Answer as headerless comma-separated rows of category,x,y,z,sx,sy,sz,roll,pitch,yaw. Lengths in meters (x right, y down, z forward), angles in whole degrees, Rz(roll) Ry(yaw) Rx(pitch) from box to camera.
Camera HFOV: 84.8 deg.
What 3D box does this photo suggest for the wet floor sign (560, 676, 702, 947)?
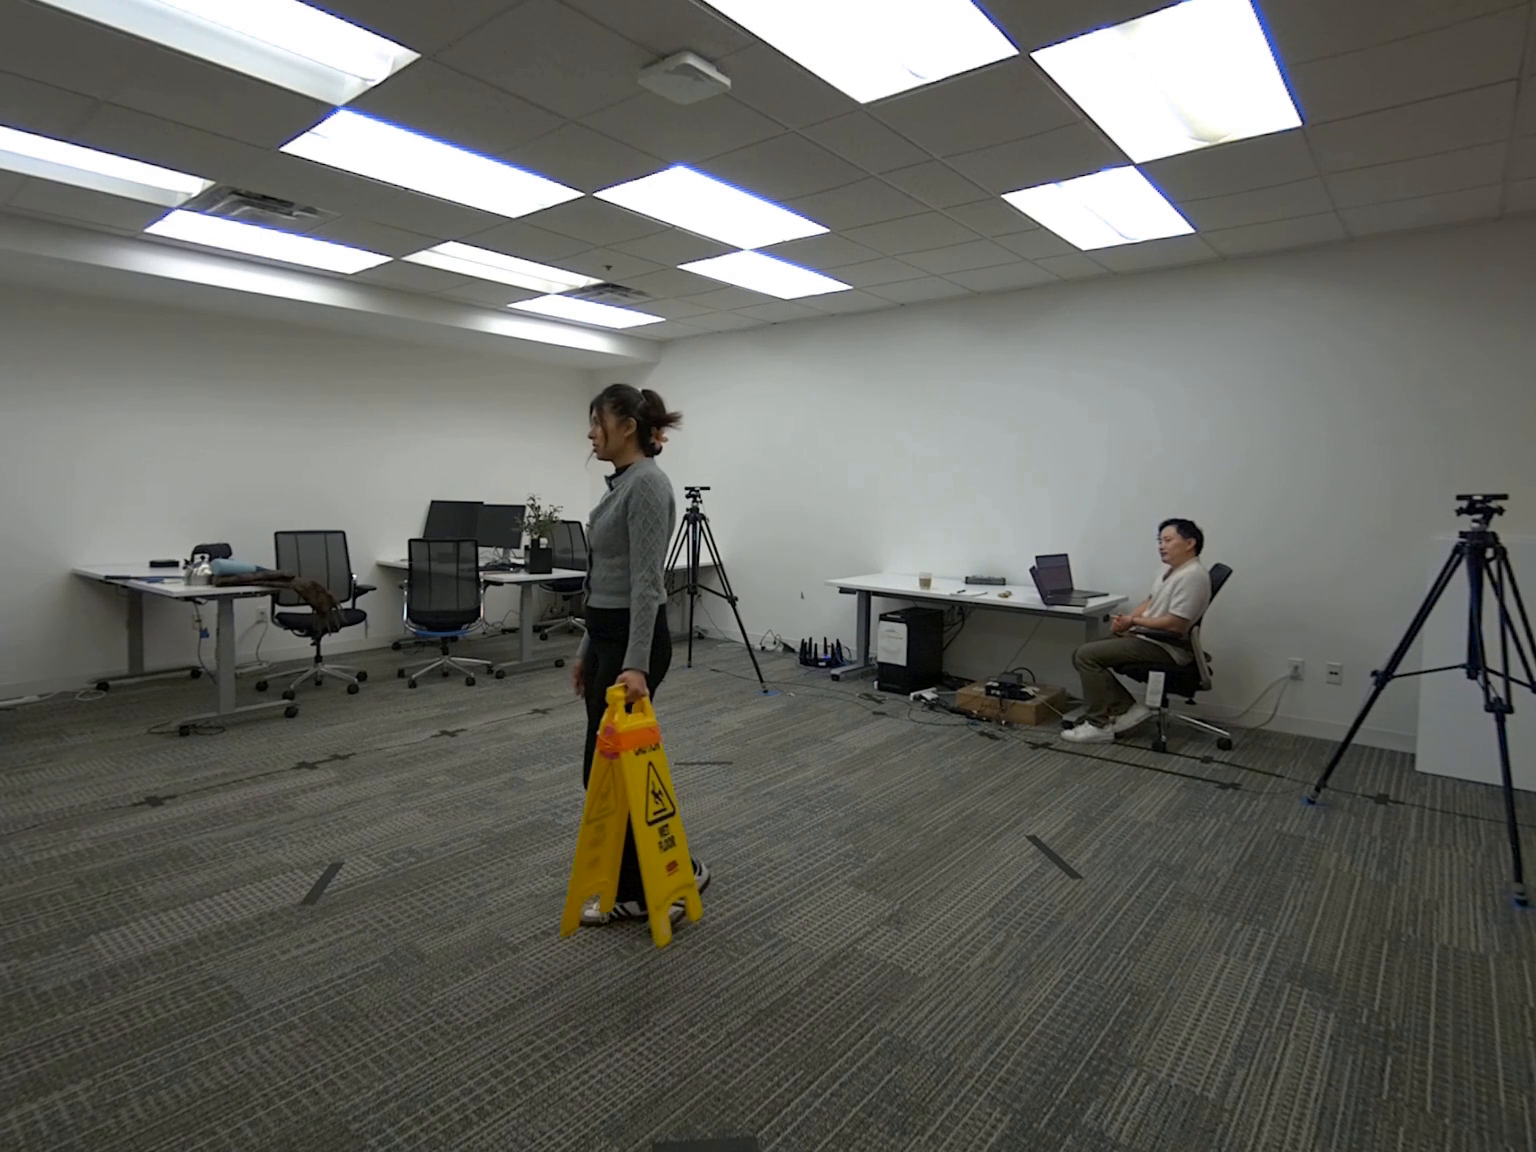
wet floor sign,-0.388,0.624,2.342,0.295,0.651,0.275,-5,-7,19
